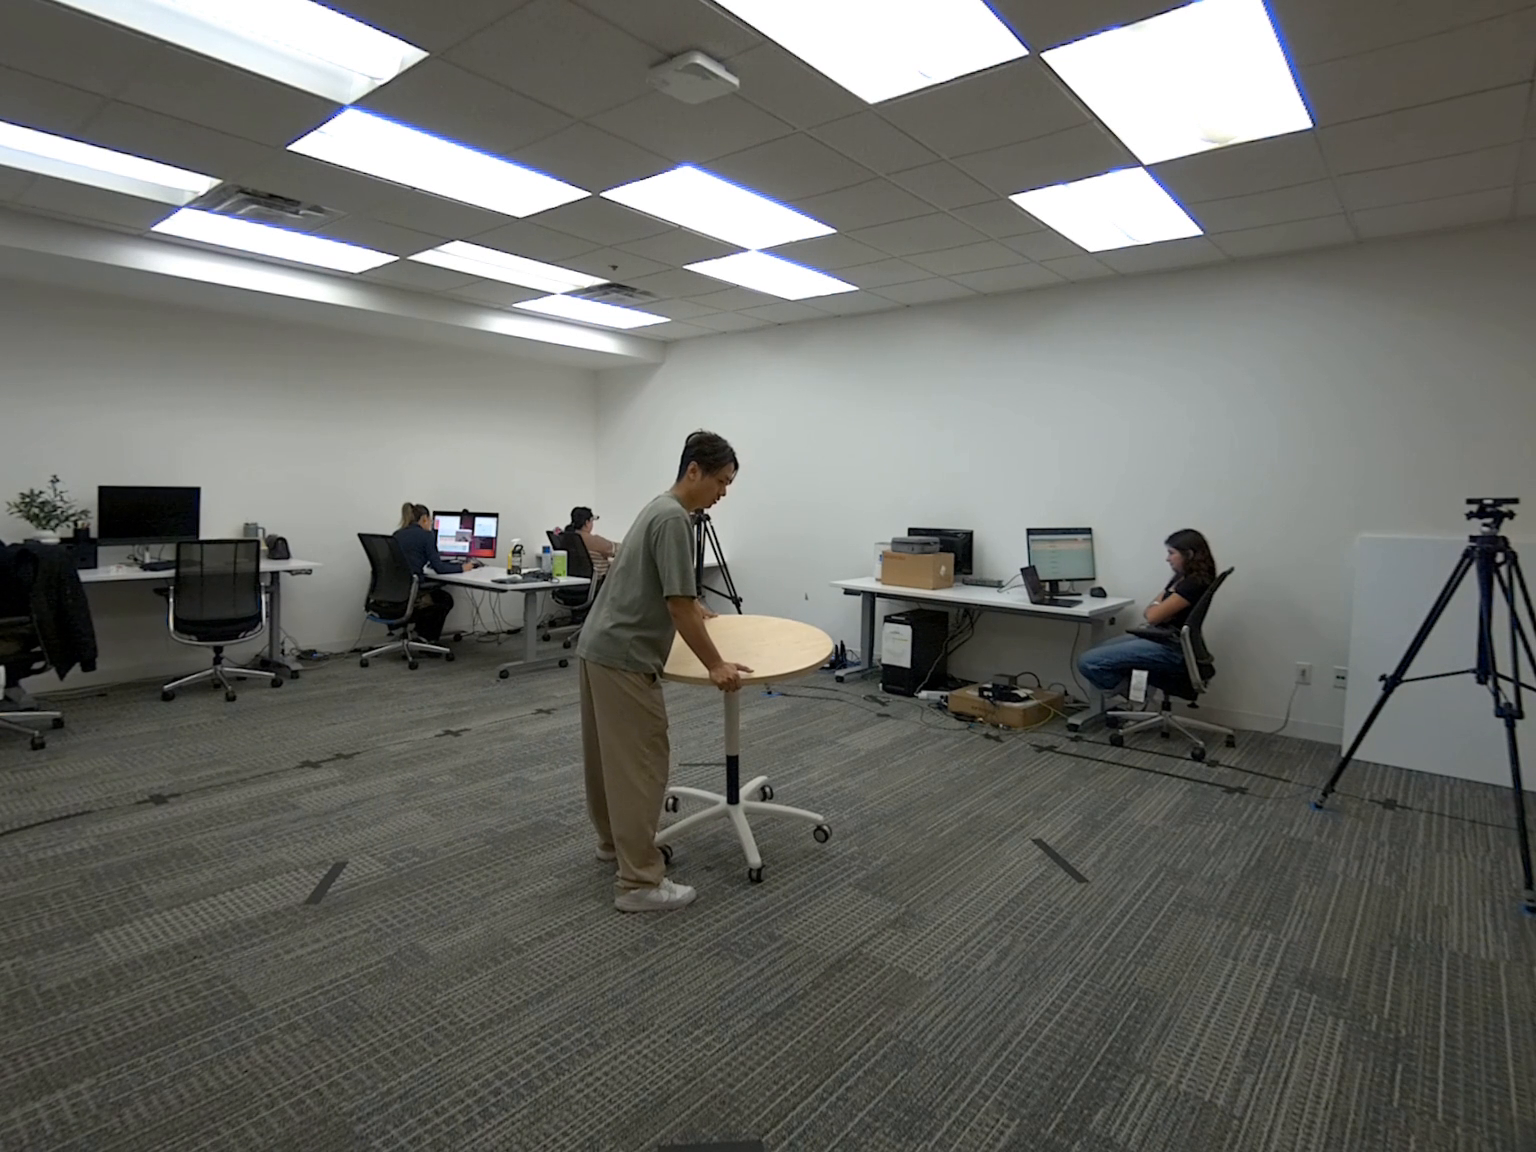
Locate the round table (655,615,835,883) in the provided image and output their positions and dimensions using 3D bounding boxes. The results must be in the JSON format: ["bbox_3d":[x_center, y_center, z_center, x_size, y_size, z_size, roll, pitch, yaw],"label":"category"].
[{"bbox_3d":[-0.132,0.630,3.271,0.784,0.778,0.795,-1,12,-2],"label":"round table"}]
